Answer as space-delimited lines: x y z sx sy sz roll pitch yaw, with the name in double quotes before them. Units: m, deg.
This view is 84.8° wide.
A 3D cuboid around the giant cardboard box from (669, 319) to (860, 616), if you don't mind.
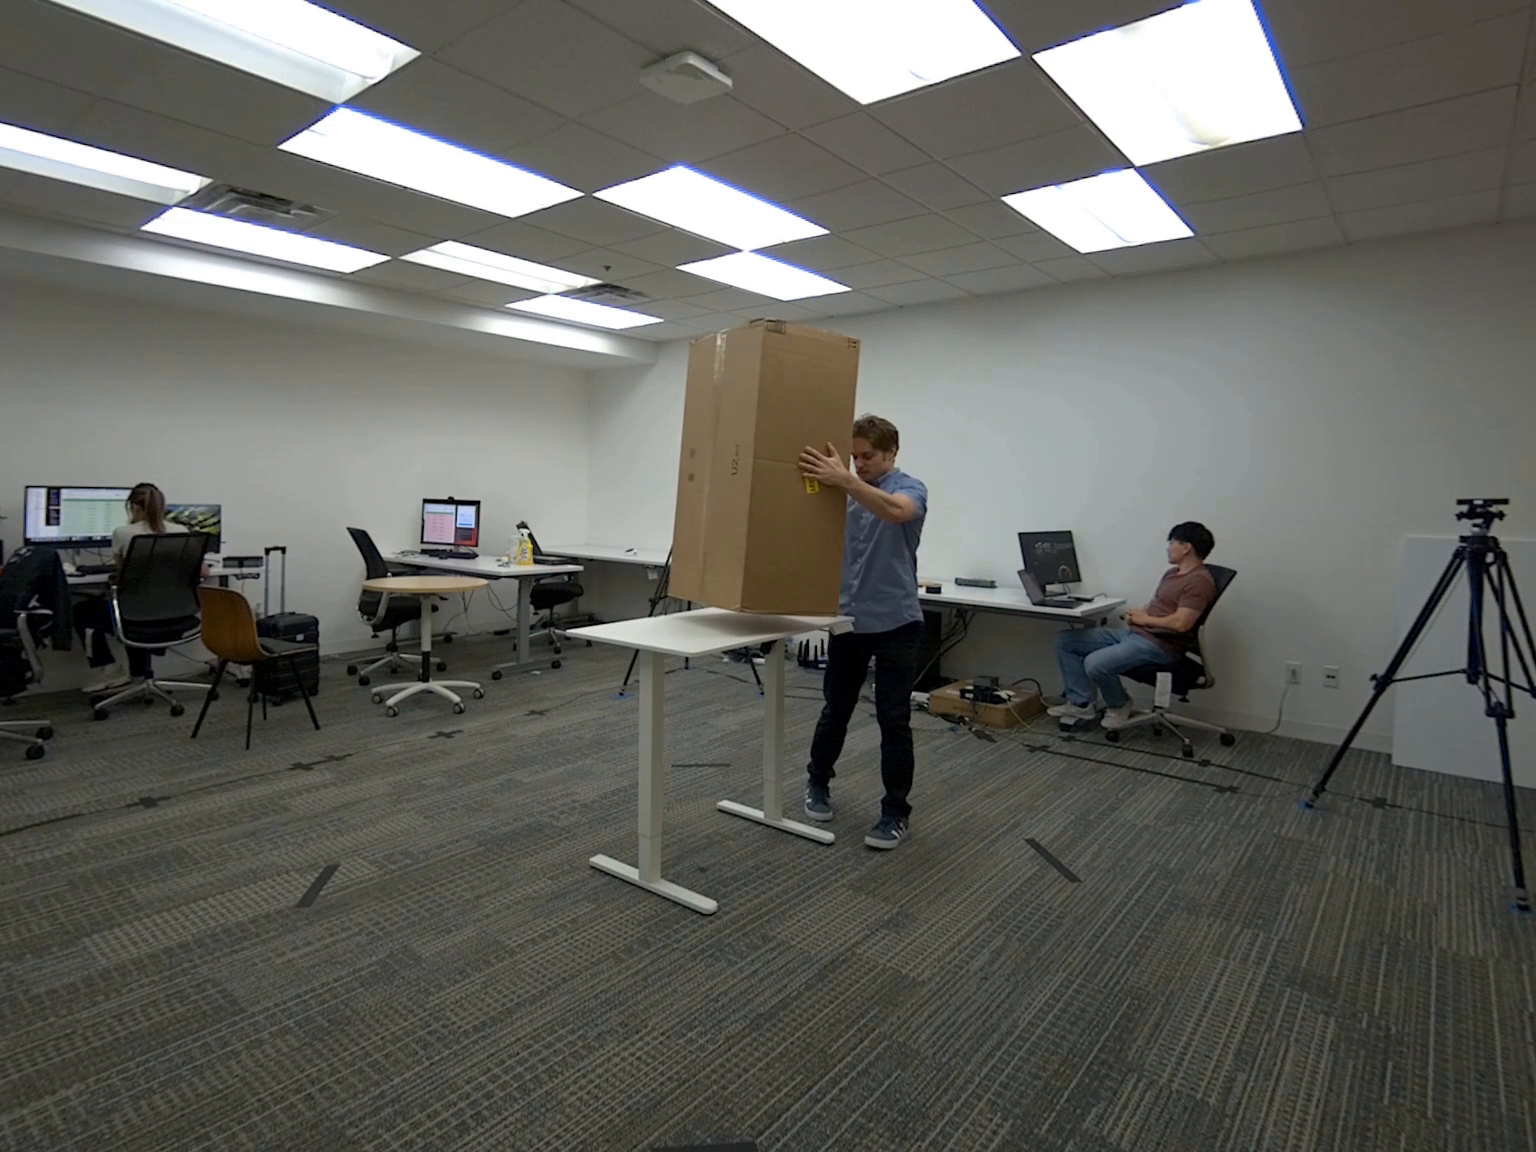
"giant cardboard box" -0.039 -0.393 3.251 0.414 1.026 0.595 5 0 -31
